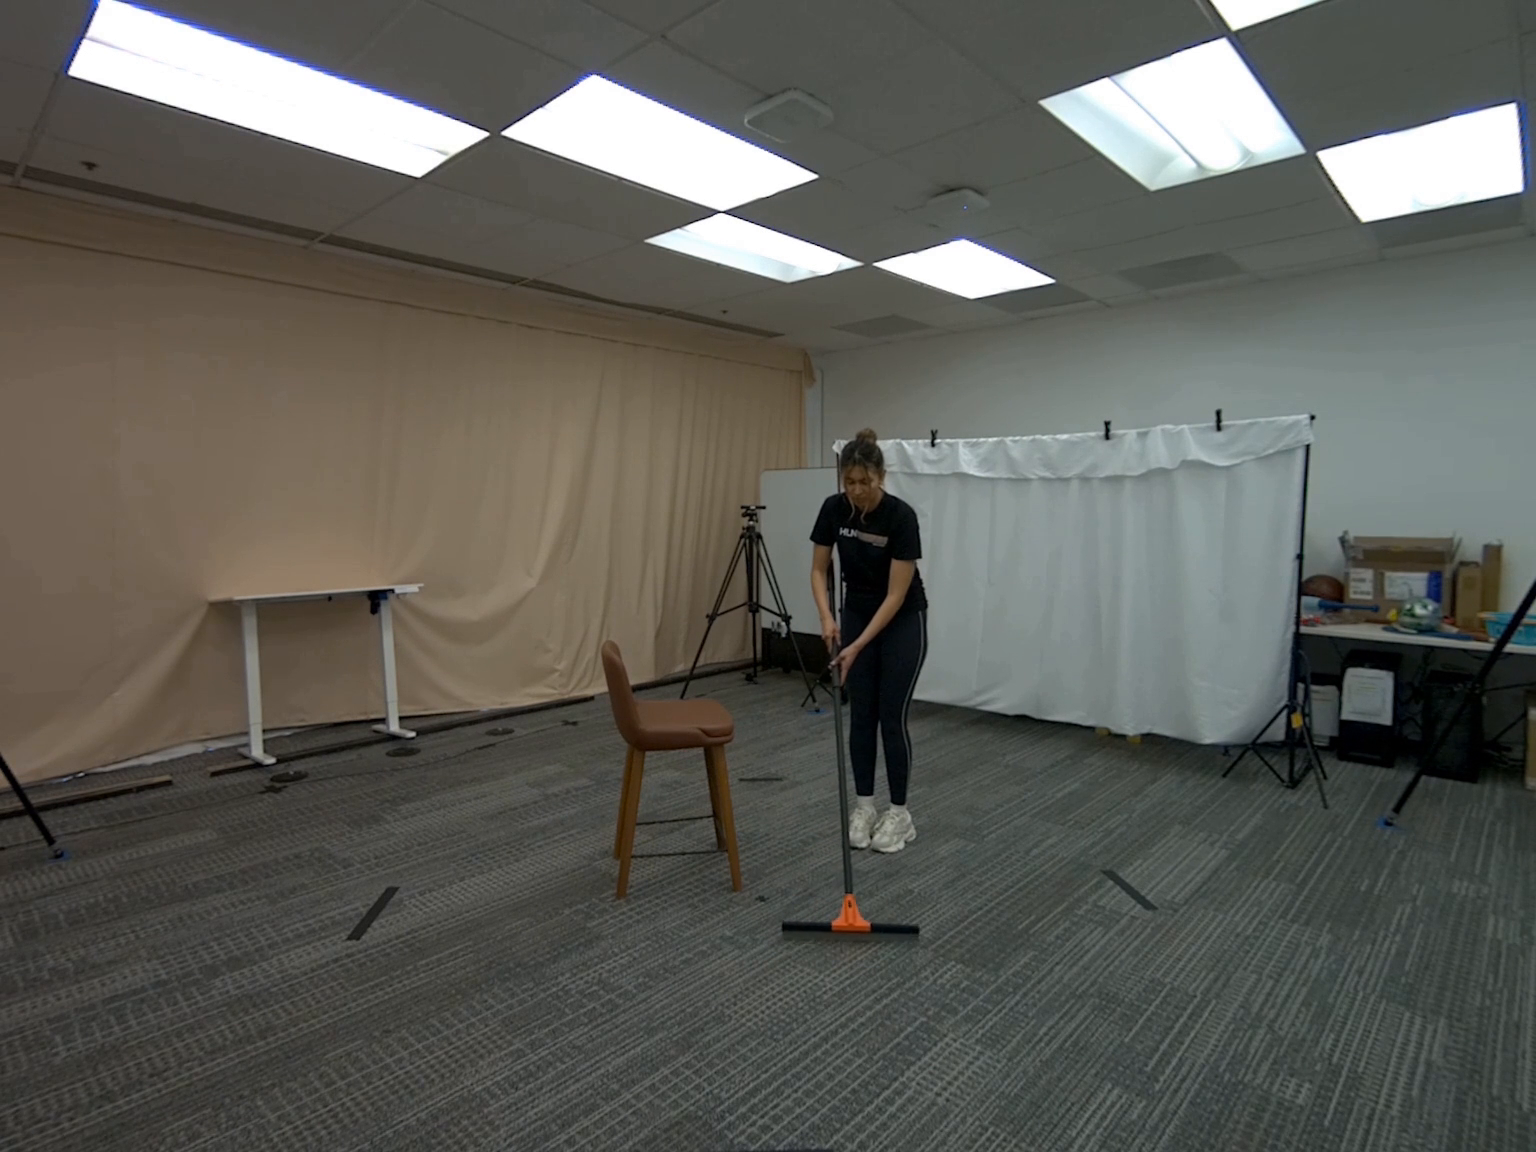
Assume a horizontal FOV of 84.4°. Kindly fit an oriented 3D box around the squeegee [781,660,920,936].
[{"bbox_3d":[0.279,0.523,3.119,0.438,1.565,0.052,-1,-38,1],"label":"squeegee"}]
